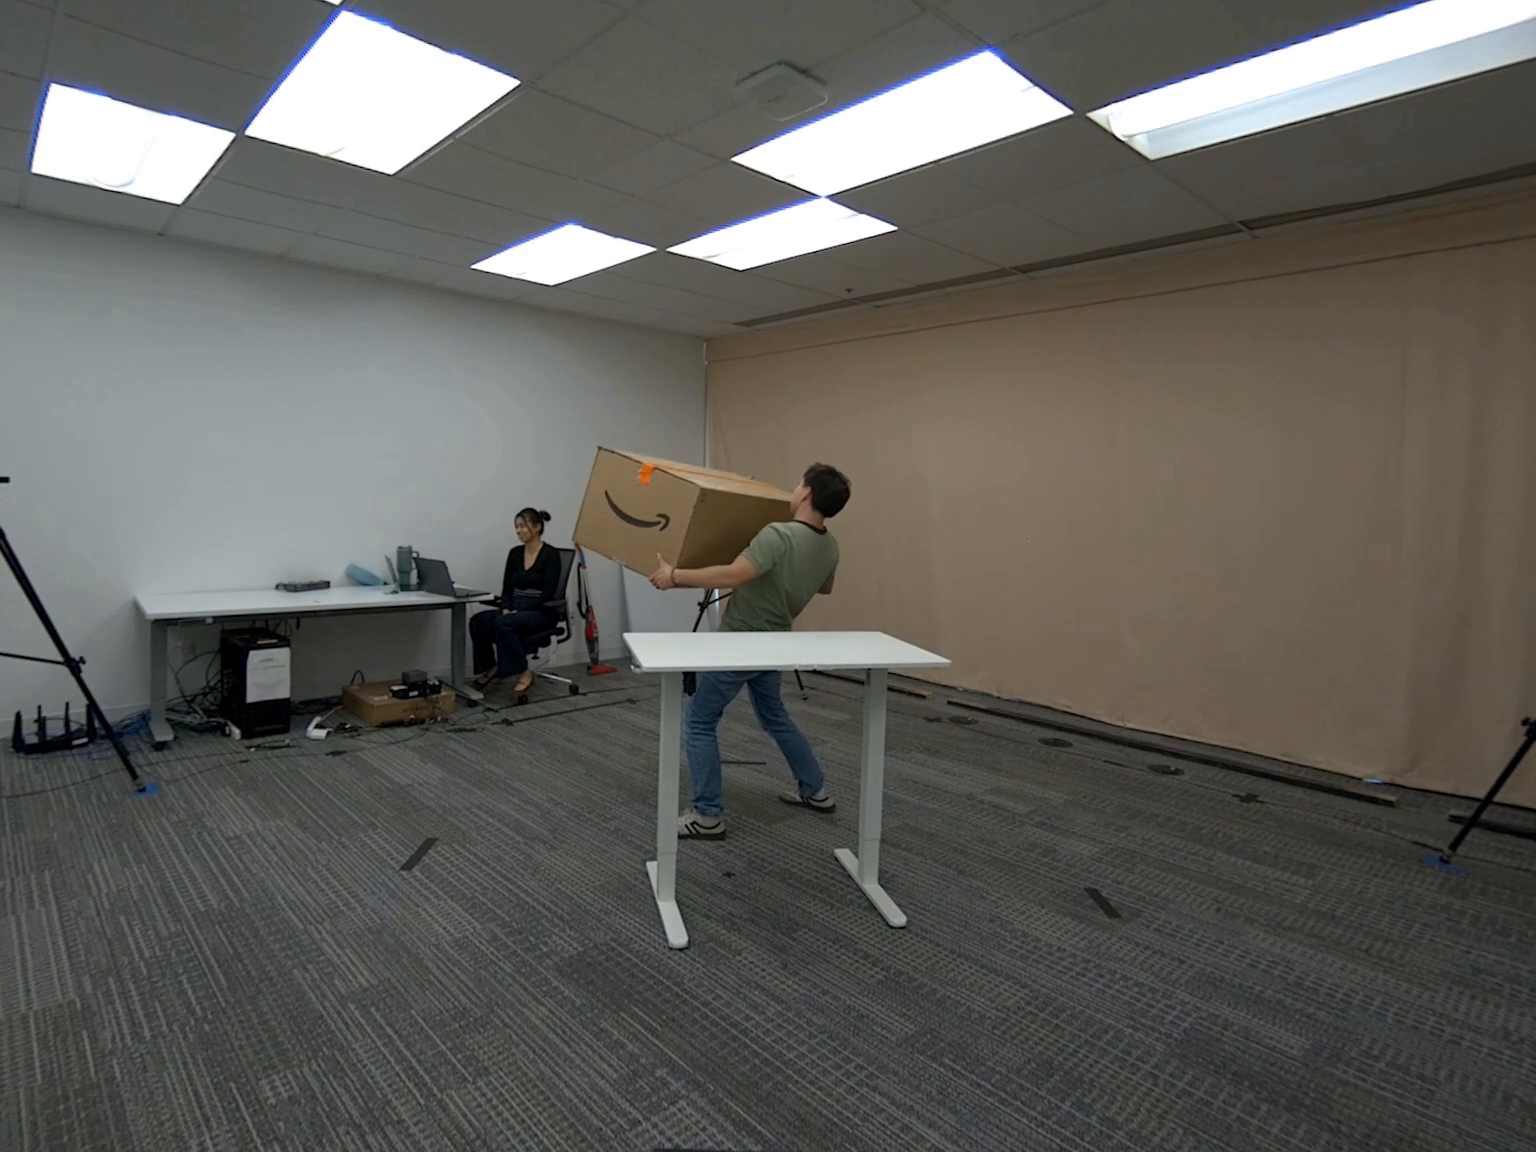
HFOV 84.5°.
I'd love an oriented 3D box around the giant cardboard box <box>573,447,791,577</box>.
[{"bbox_3d":[-0.290,-0.246,3.835,0.593,0.424,1.002,24,11,30],"label":"giant cardboard box"}]
